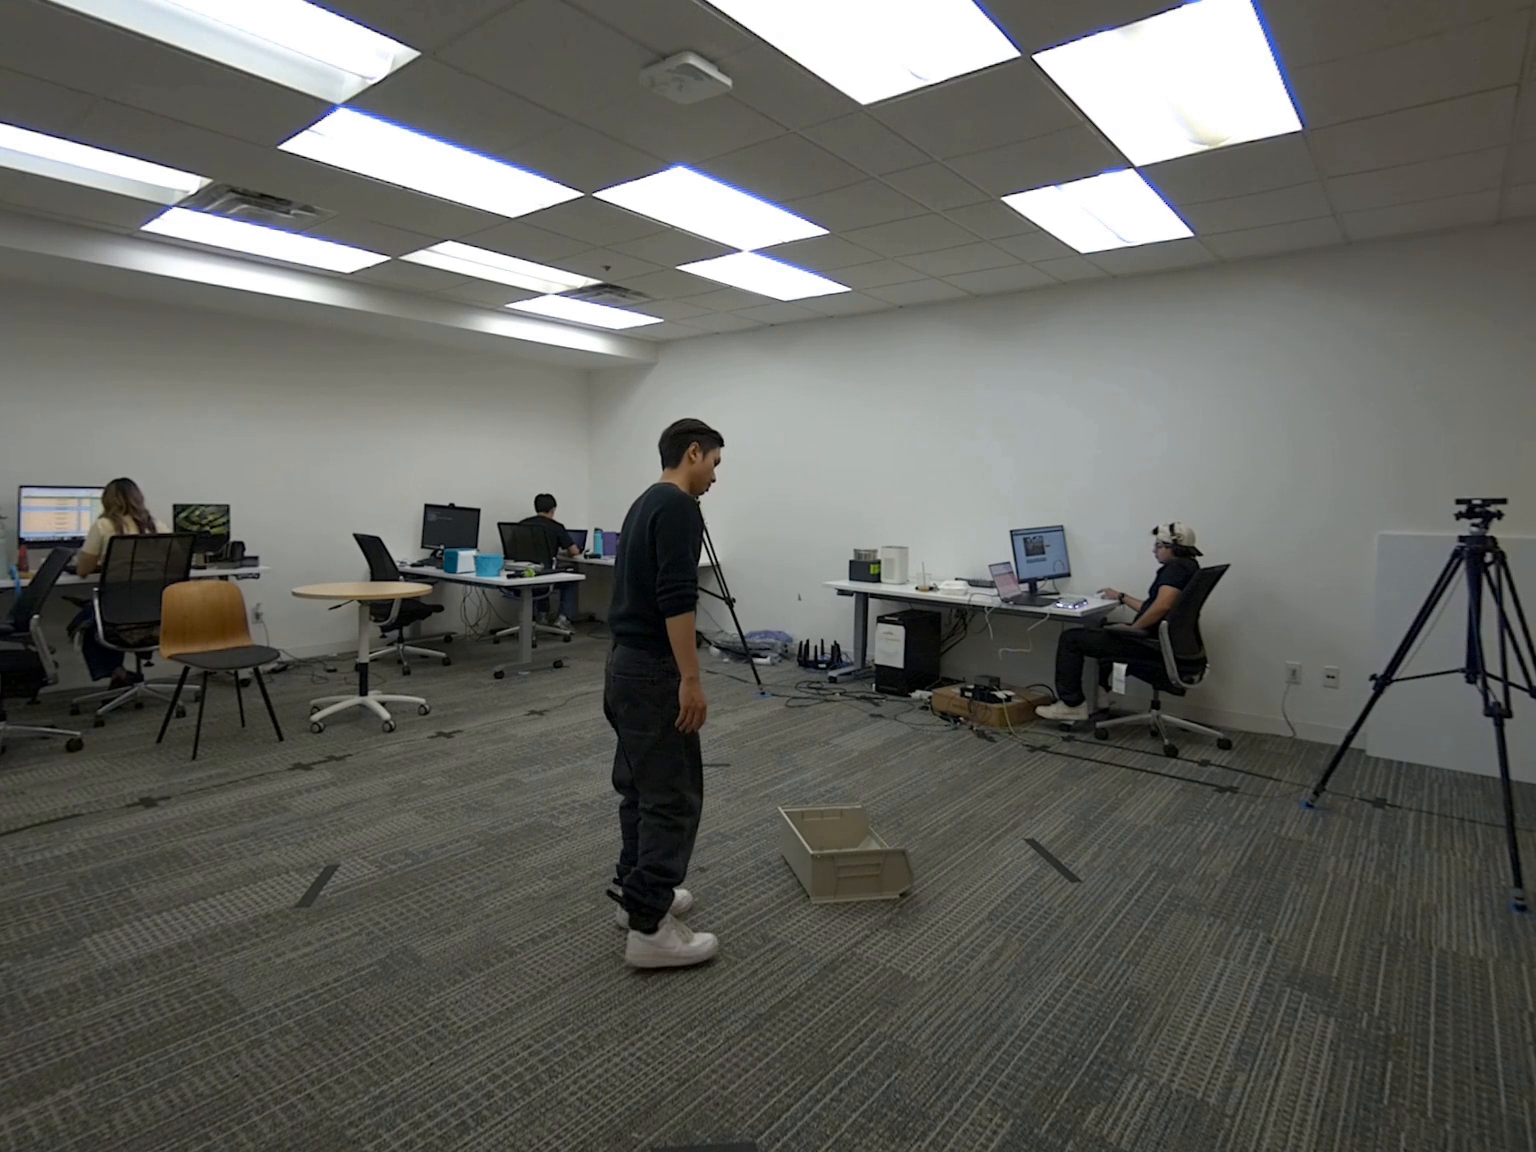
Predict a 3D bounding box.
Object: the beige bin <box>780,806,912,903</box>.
[{"bbox_3d":[0.276,1.012,3.091,0.372,0.188,0.430,-3,6,-13],"label":"beige bin"}]
